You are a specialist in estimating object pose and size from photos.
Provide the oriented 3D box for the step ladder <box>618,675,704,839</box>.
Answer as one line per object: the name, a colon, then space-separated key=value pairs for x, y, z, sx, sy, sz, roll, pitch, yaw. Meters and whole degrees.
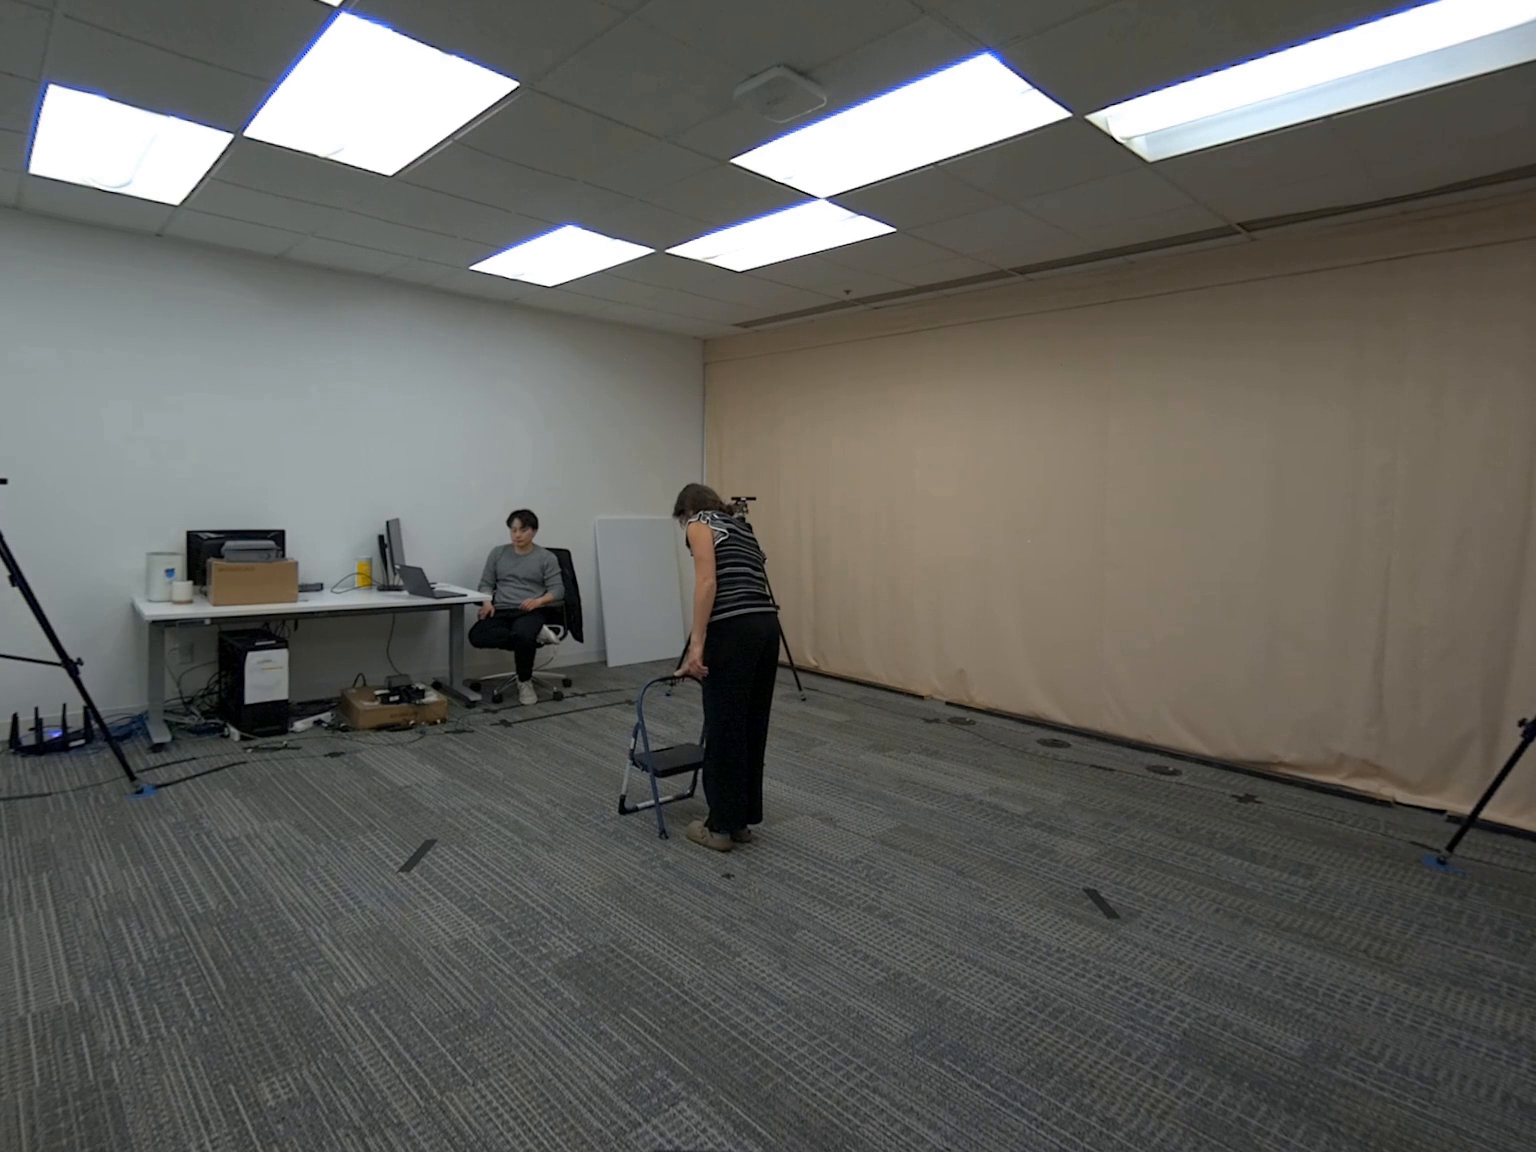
step ladder: x=-0.393 y=0.748 z=3.681 sx=0.420 sy=0.605 sz=0.358 roll=-1 pitch=4 yaw=-43
